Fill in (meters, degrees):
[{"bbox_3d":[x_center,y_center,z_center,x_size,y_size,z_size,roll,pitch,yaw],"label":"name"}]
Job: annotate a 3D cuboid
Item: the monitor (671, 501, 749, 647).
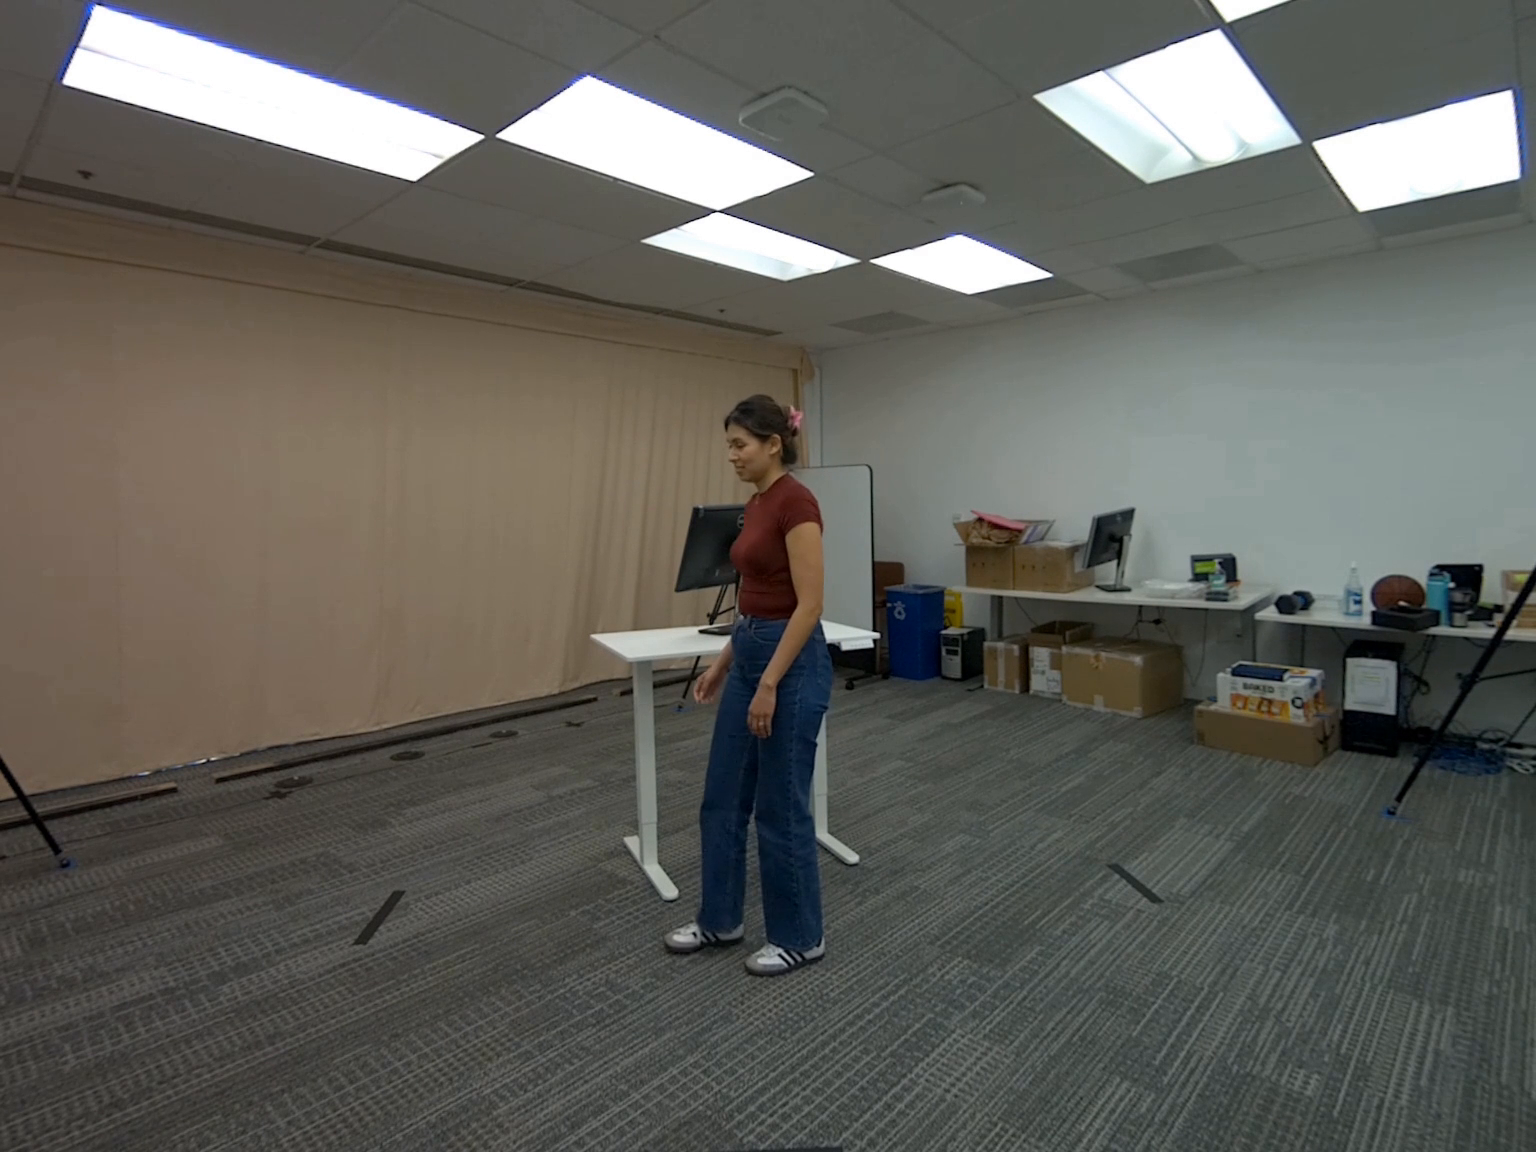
[{"bbox_3d":[-0.137,-0.031,3.412,0.193,0.520,0.524,6,8,36],"label":"monitor"}]
